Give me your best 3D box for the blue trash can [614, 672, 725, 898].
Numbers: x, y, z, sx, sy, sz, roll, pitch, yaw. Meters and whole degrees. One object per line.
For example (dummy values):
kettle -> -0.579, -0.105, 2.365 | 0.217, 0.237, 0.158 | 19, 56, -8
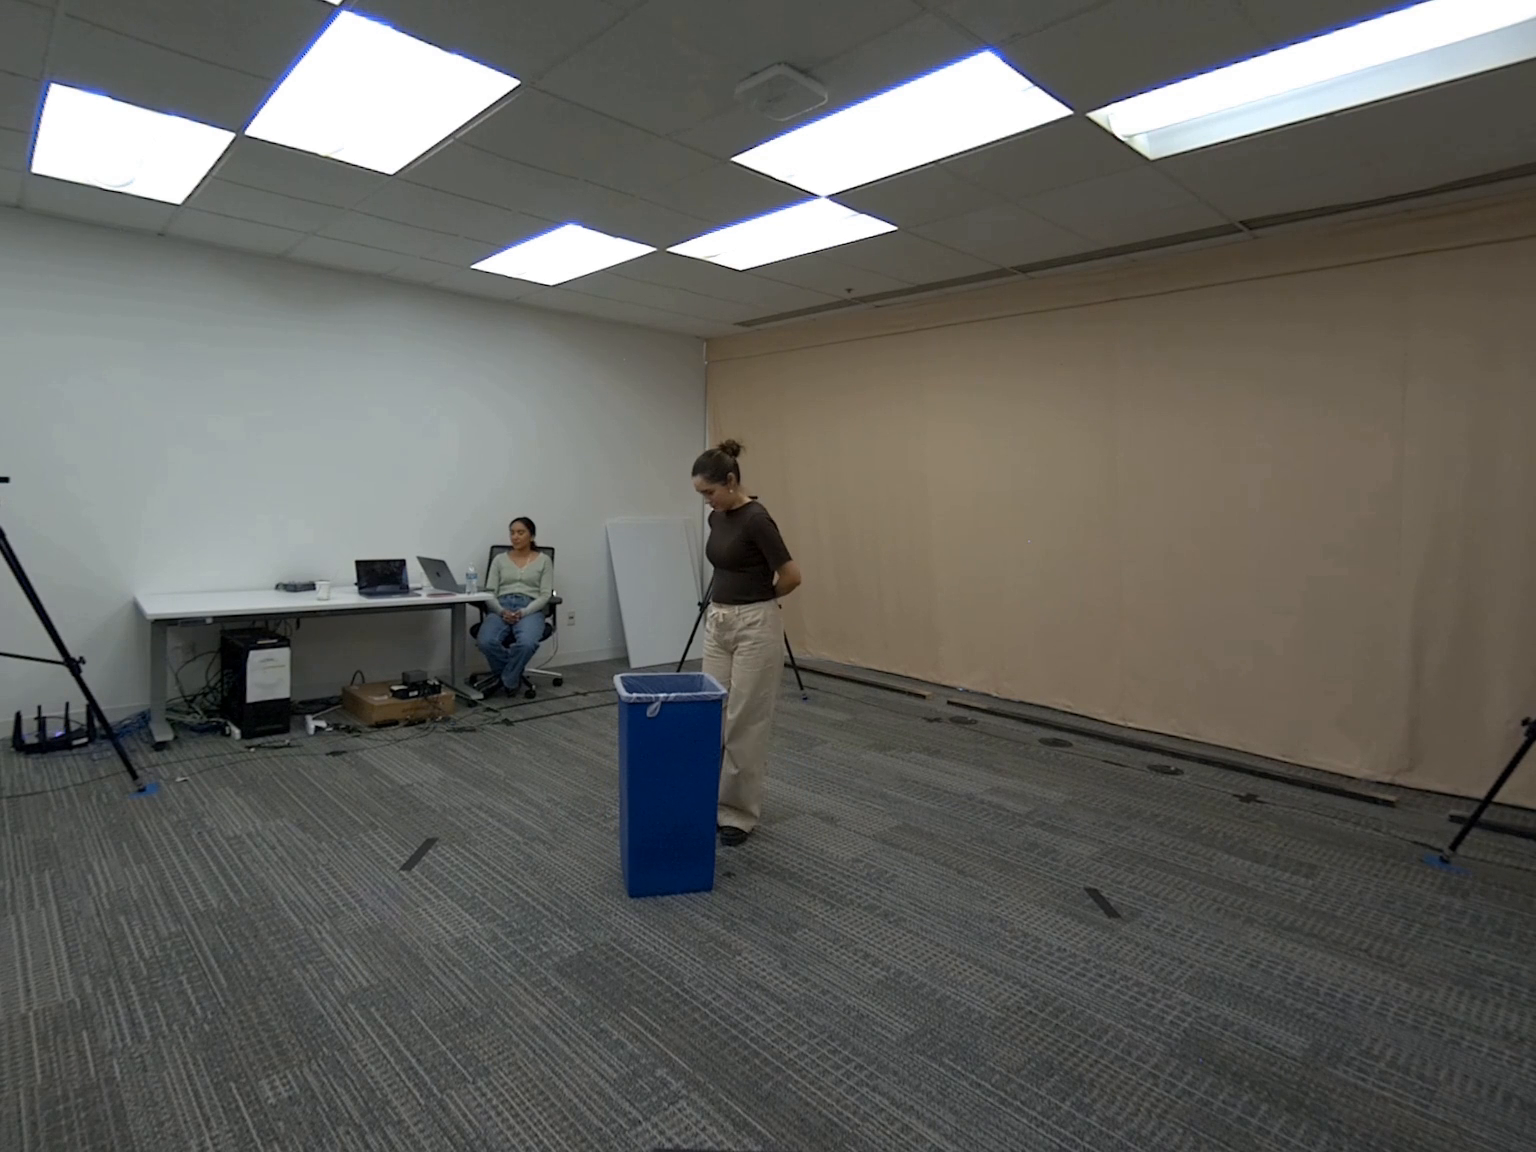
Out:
blue trash can -> -0.370, 0.742, 3.066 | 0.369, 0.712, 0.384 | 0, 3, -16
